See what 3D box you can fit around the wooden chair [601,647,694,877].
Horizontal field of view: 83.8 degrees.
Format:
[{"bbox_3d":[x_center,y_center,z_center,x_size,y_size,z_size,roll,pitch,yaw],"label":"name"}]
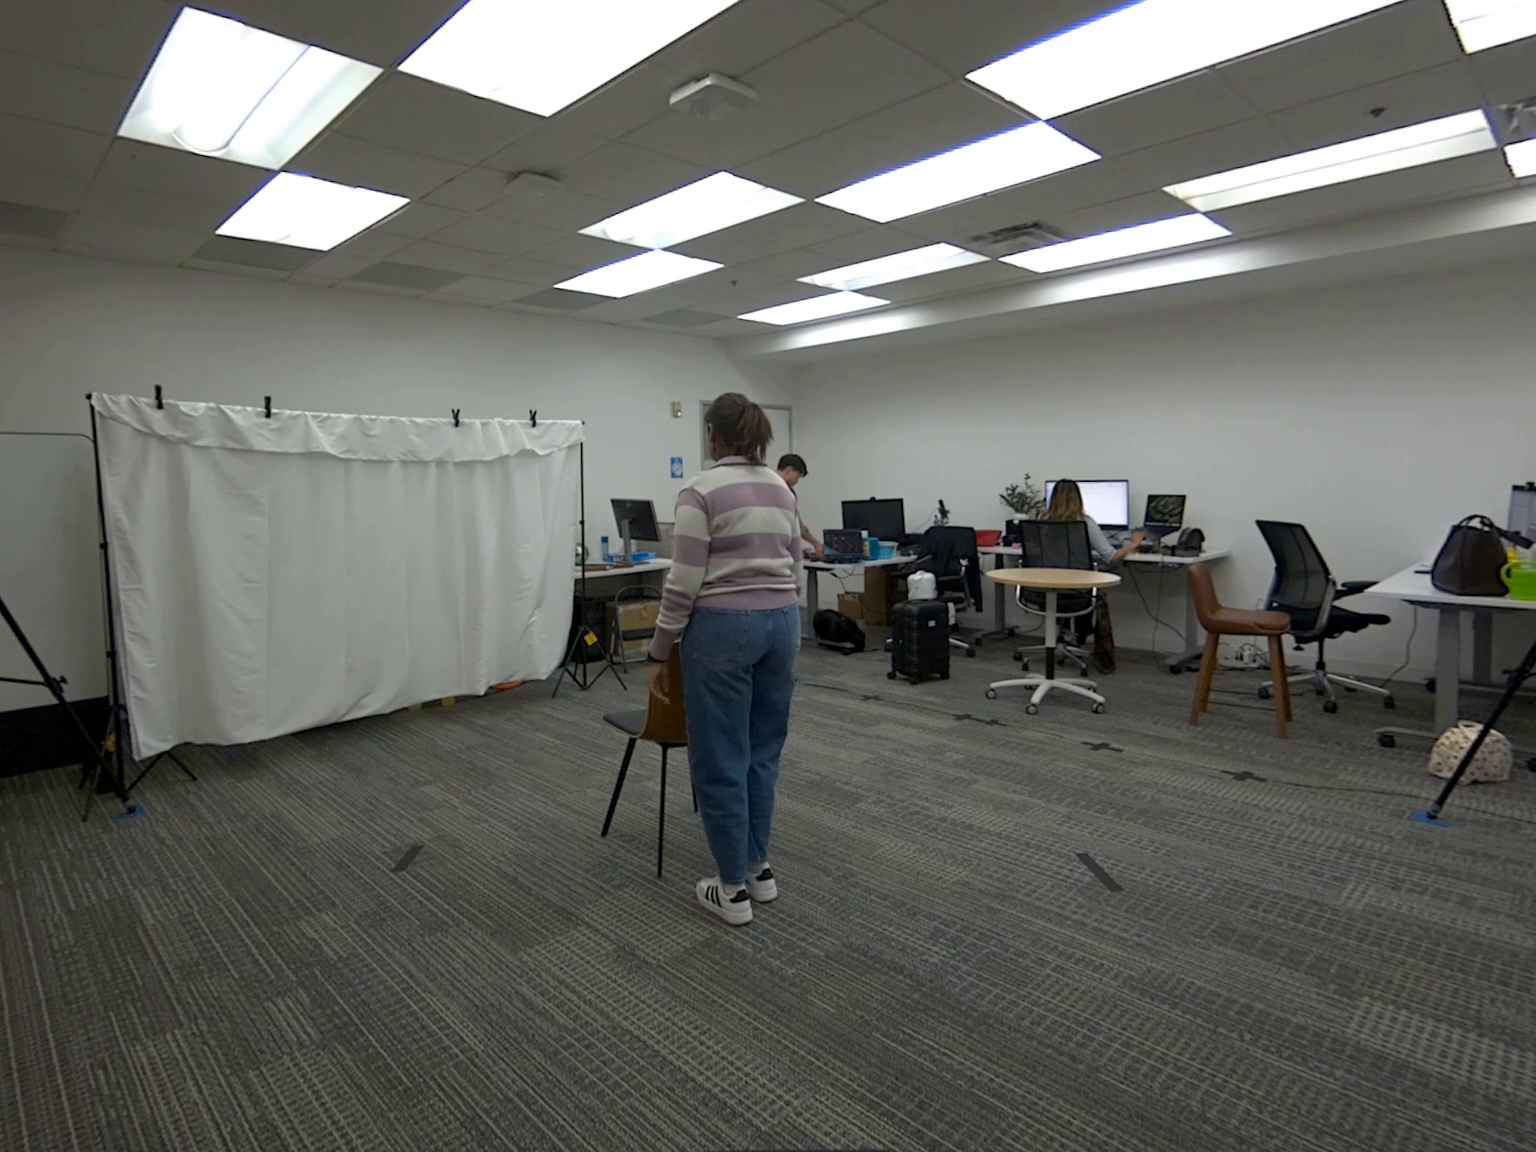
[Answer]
[{"bbox_3d":[-0.356,0.606,3.294,0.466,0.872,0.540,-4,9,-36],"label":"wooden chair"}]
